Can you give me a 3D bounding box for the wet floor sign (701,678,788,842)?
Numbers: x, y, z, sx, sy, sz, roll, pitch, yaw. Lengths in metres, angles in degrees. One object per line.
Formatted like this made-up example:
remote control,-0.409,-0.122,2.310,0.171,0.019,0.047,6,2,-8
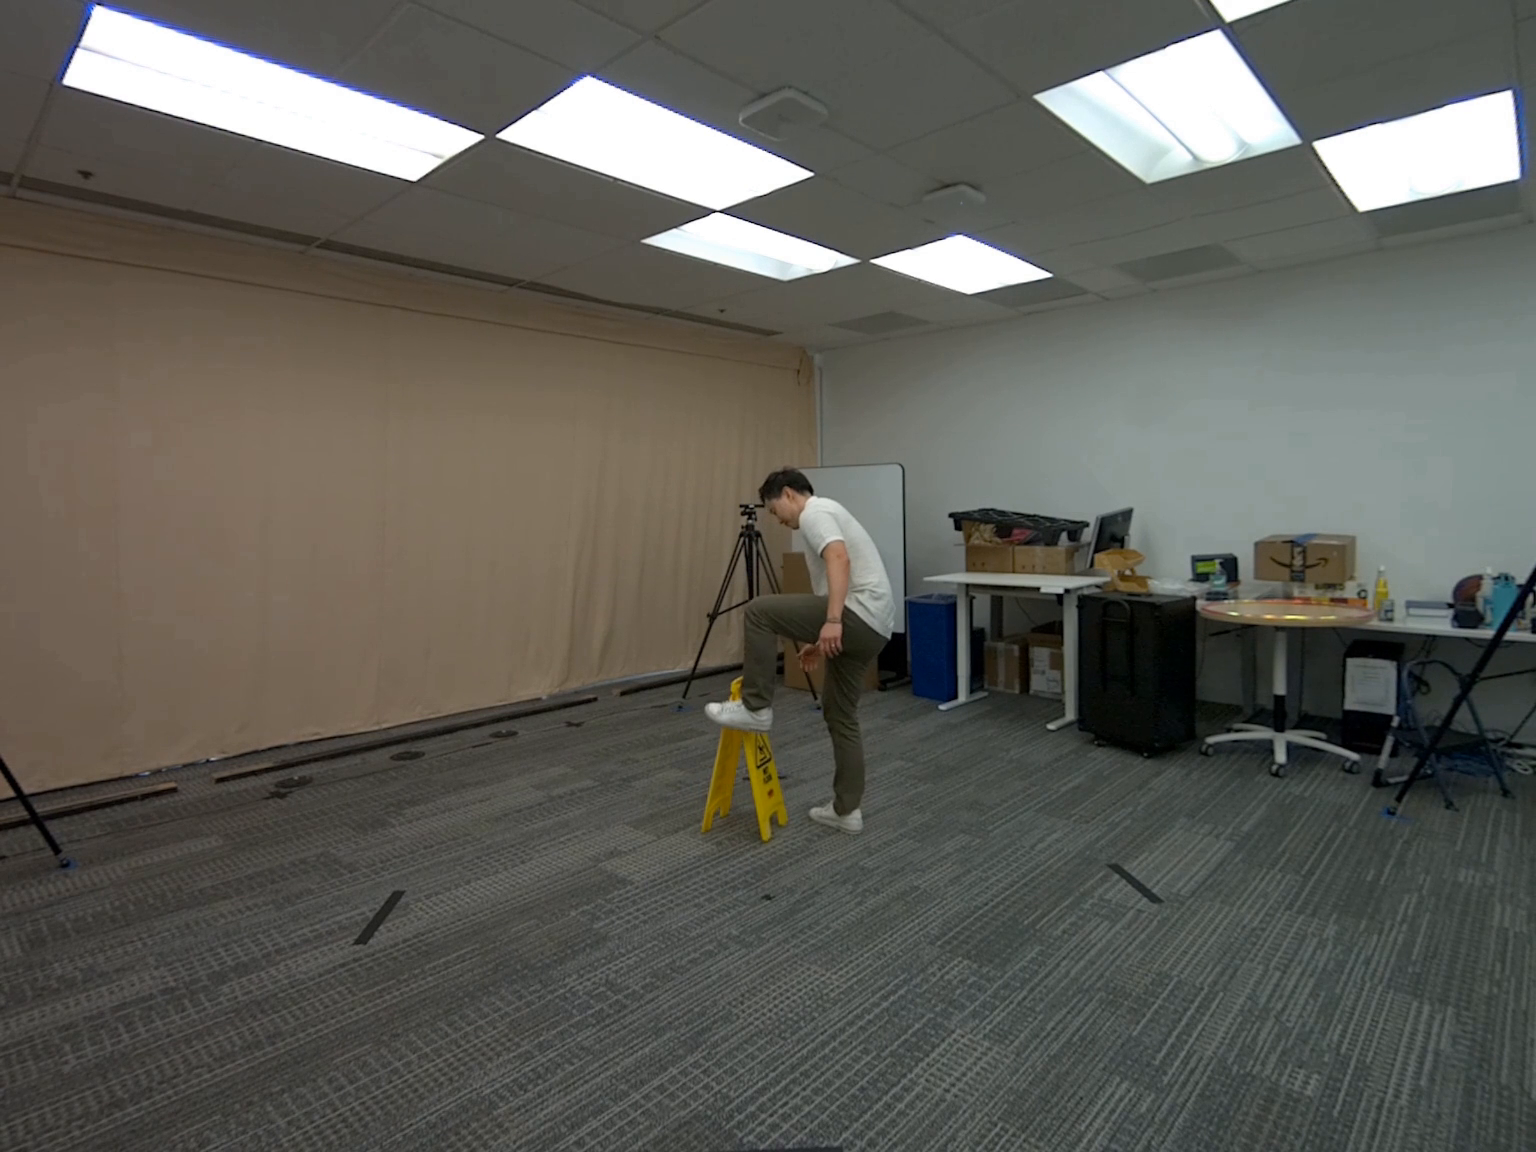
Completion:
wet floor sign,-0.101,0.759,3.638,0.296,0.646,0.276,-1,0,22
